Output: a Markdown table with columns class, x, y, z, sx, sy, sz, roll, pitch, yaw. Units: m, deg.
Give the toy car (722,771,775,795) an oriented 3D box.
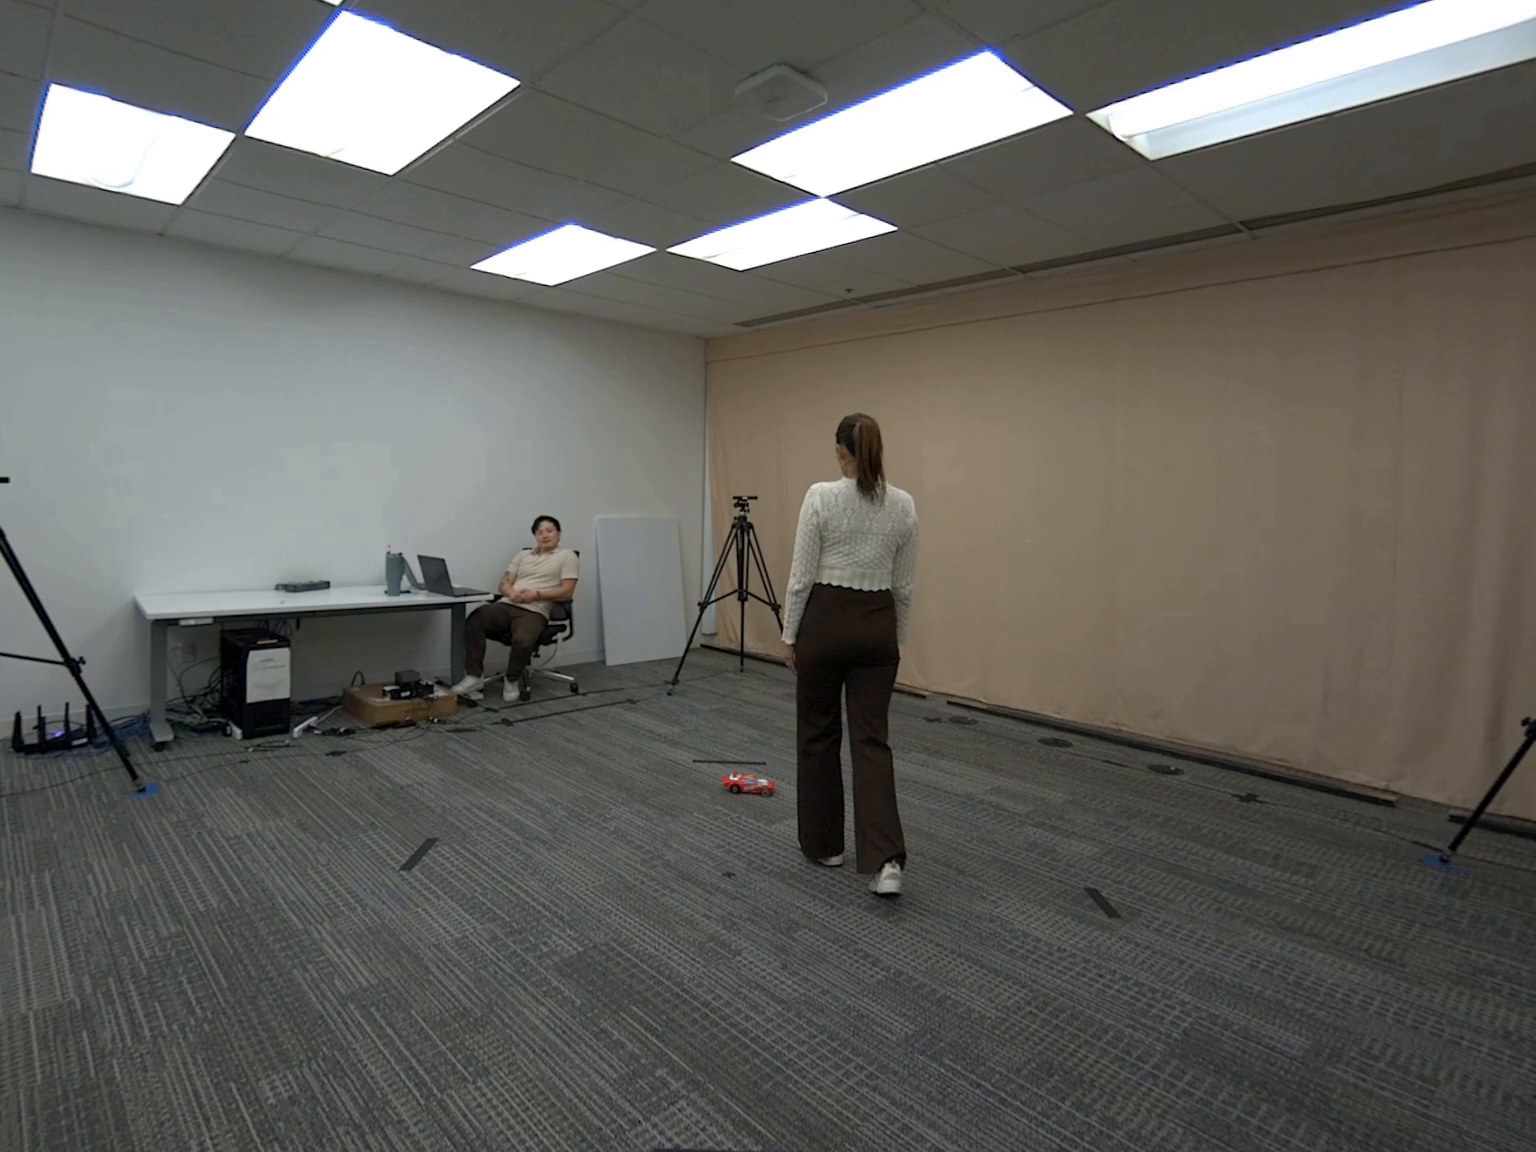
| class | x | y | z | sx | sy | sz | roll | pitch | yaw |
| --- | --- | --- | --- | --- | --- | --- | --- | --- | --- |
| toy car | -0.112 | 0.995 | 4.017 | 0.257 | 0.083 | 0.129 | 14 | 7 | 8 |
